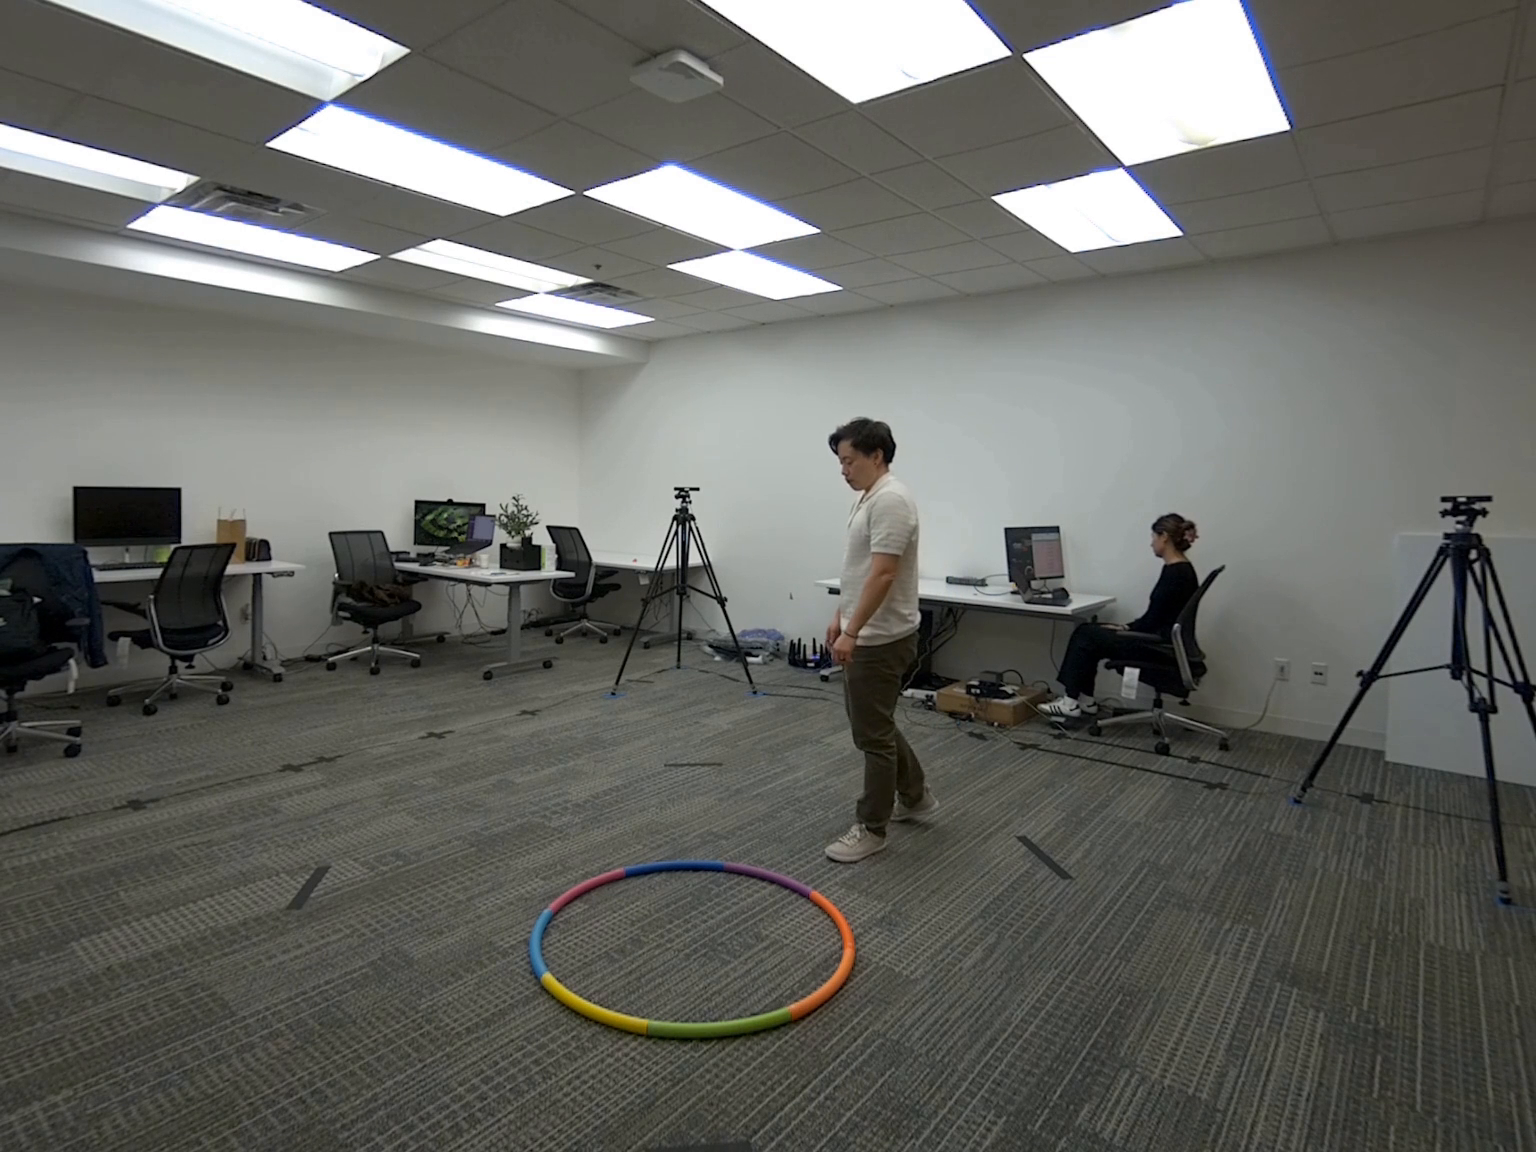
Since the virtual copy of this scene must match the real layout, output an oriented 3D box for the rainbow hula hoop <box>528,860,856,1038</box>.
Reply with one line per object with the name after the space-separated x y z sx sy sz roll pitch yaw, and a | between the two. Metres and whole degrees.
-0.239 1.082 2.629 0.978 0.035 0.984 1 5 -2 | rainbow hula hoop
